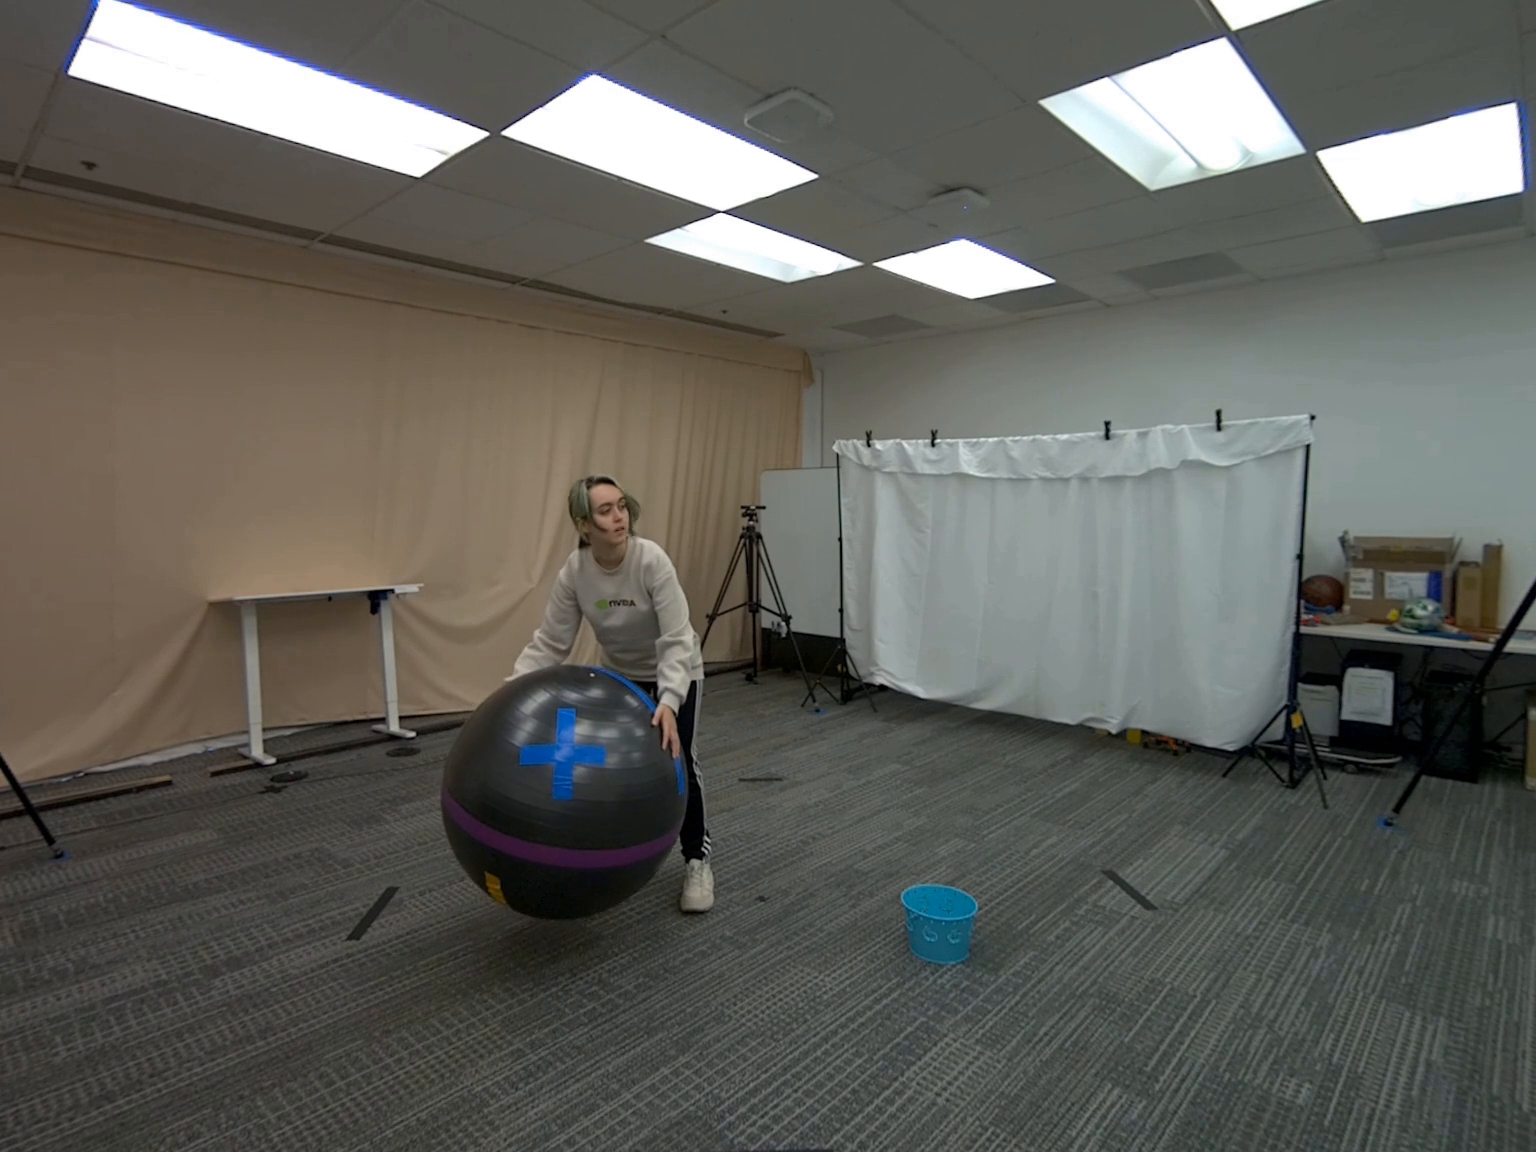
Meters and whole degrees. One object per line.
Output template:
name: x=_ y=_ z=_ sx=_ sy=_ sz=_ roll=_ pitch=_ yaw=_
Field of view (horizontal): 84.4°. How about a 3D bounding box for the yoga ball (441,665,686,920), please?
yoga ball: x=-0.630 y=0.669 z=2.631 sx=0.757 sy=0.756 sz=0.760 roll=0 pitch=4 yaw=-2
